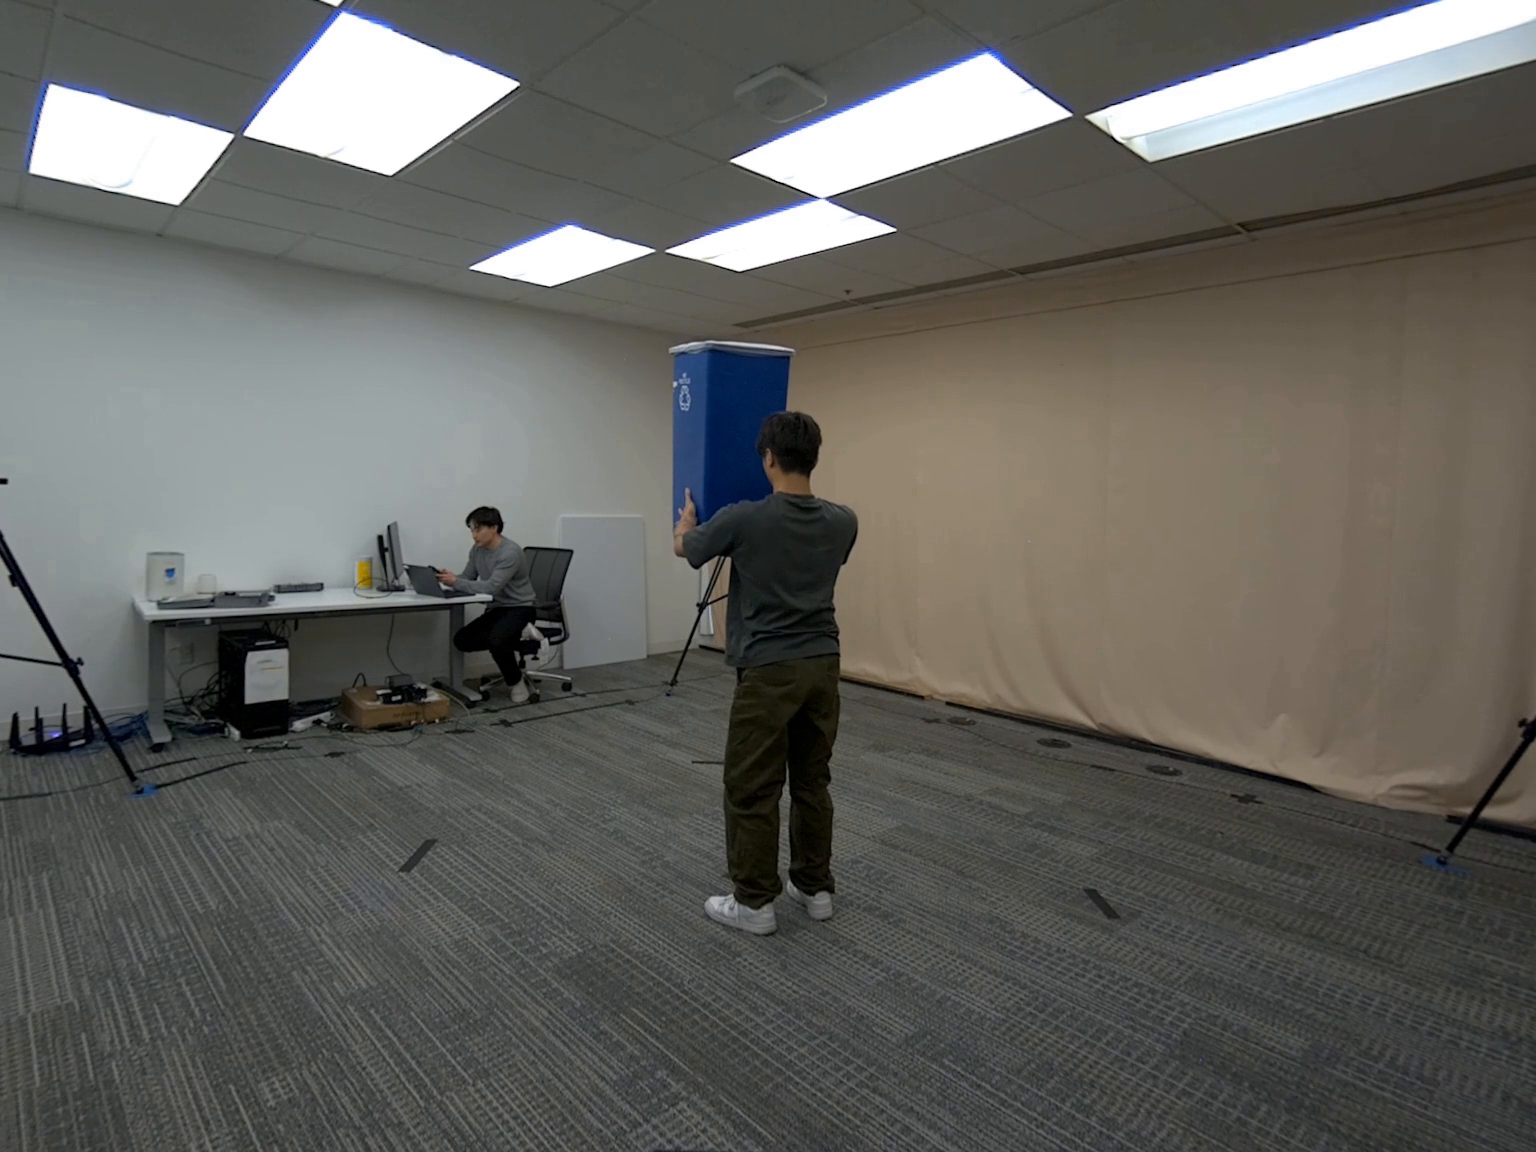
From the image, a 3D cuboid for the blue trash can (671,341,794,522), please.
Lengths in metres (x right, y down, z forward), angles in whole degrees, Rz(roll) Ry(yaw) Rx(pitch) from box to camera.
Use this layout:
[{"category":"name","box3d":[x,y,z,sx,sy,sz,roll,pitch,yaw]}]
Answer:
[{"category":"blue trash can","box3d":[-0.168,-0.500,3.184,0.367,0.710,0.387,-1,8,-29]}]
